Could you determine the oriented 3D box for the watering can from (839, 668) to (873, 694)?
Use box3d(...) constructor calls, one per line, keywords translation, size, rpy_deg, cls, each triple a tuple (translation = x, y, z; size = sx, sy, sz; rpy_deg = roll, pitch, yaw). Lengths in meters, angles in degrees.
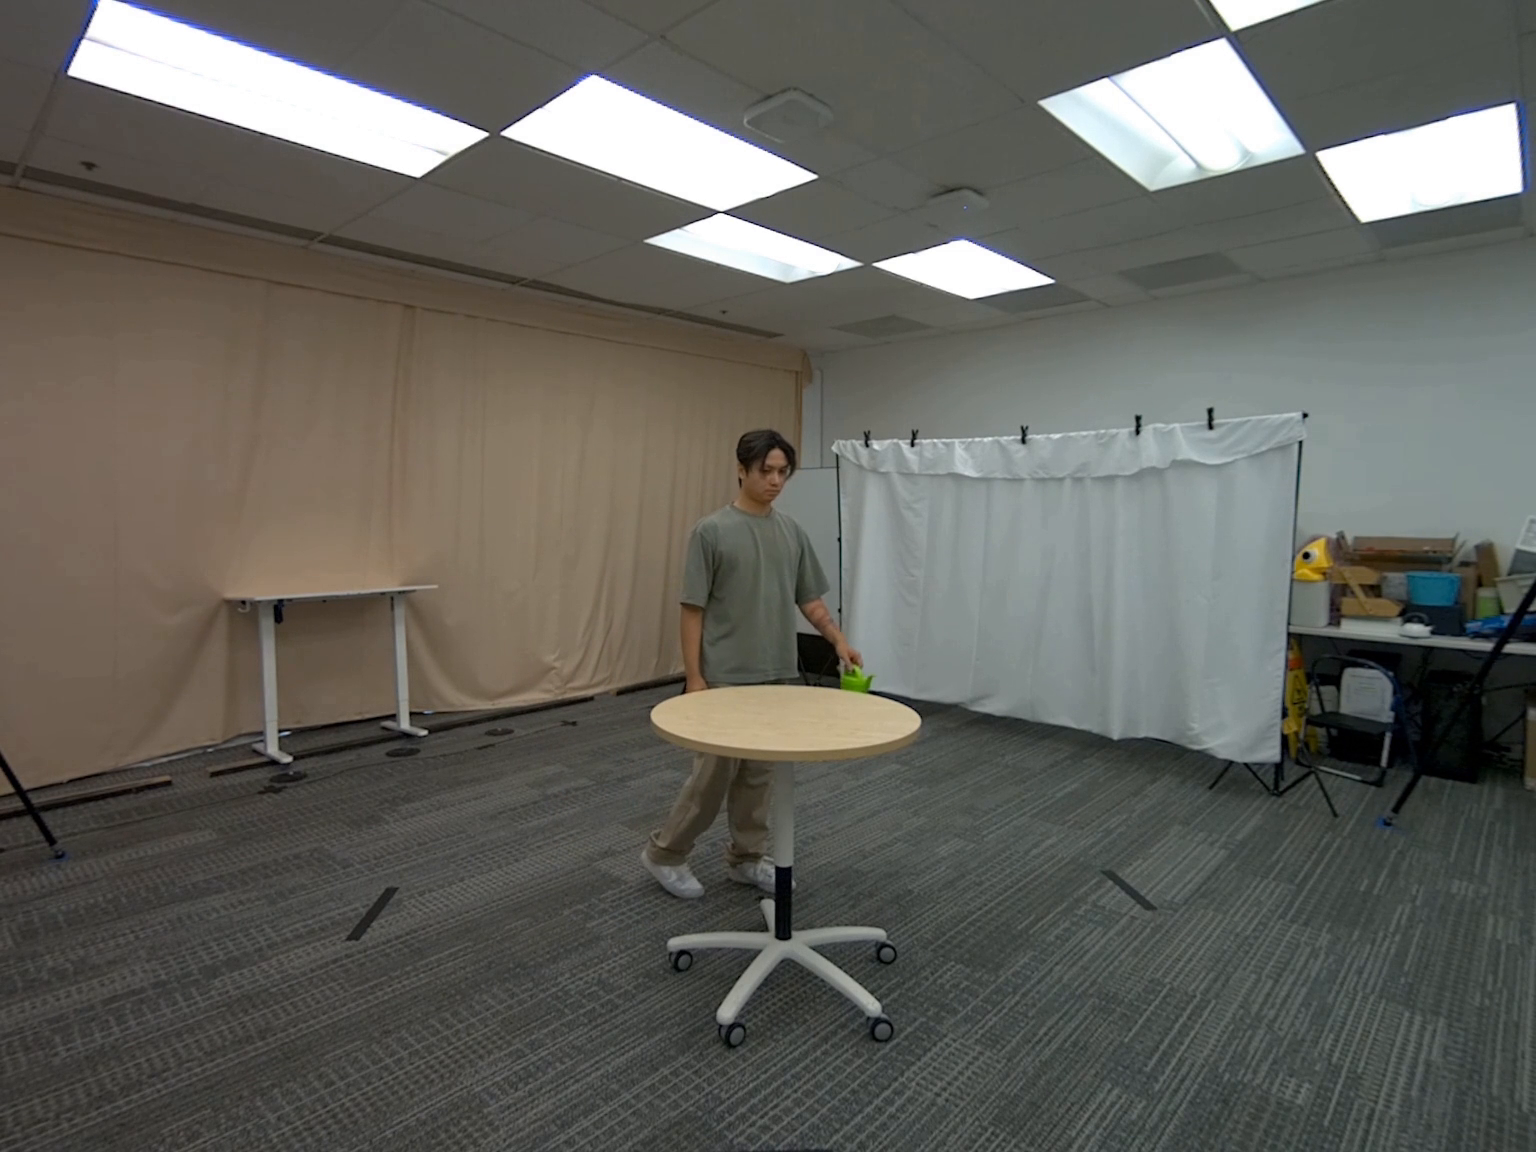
box3d(translation=(0.310, 0.408, 2.948), size=(0.098, 0.176, 0.278), rpy_deg=(0, 4, 1), cls="watering can")
